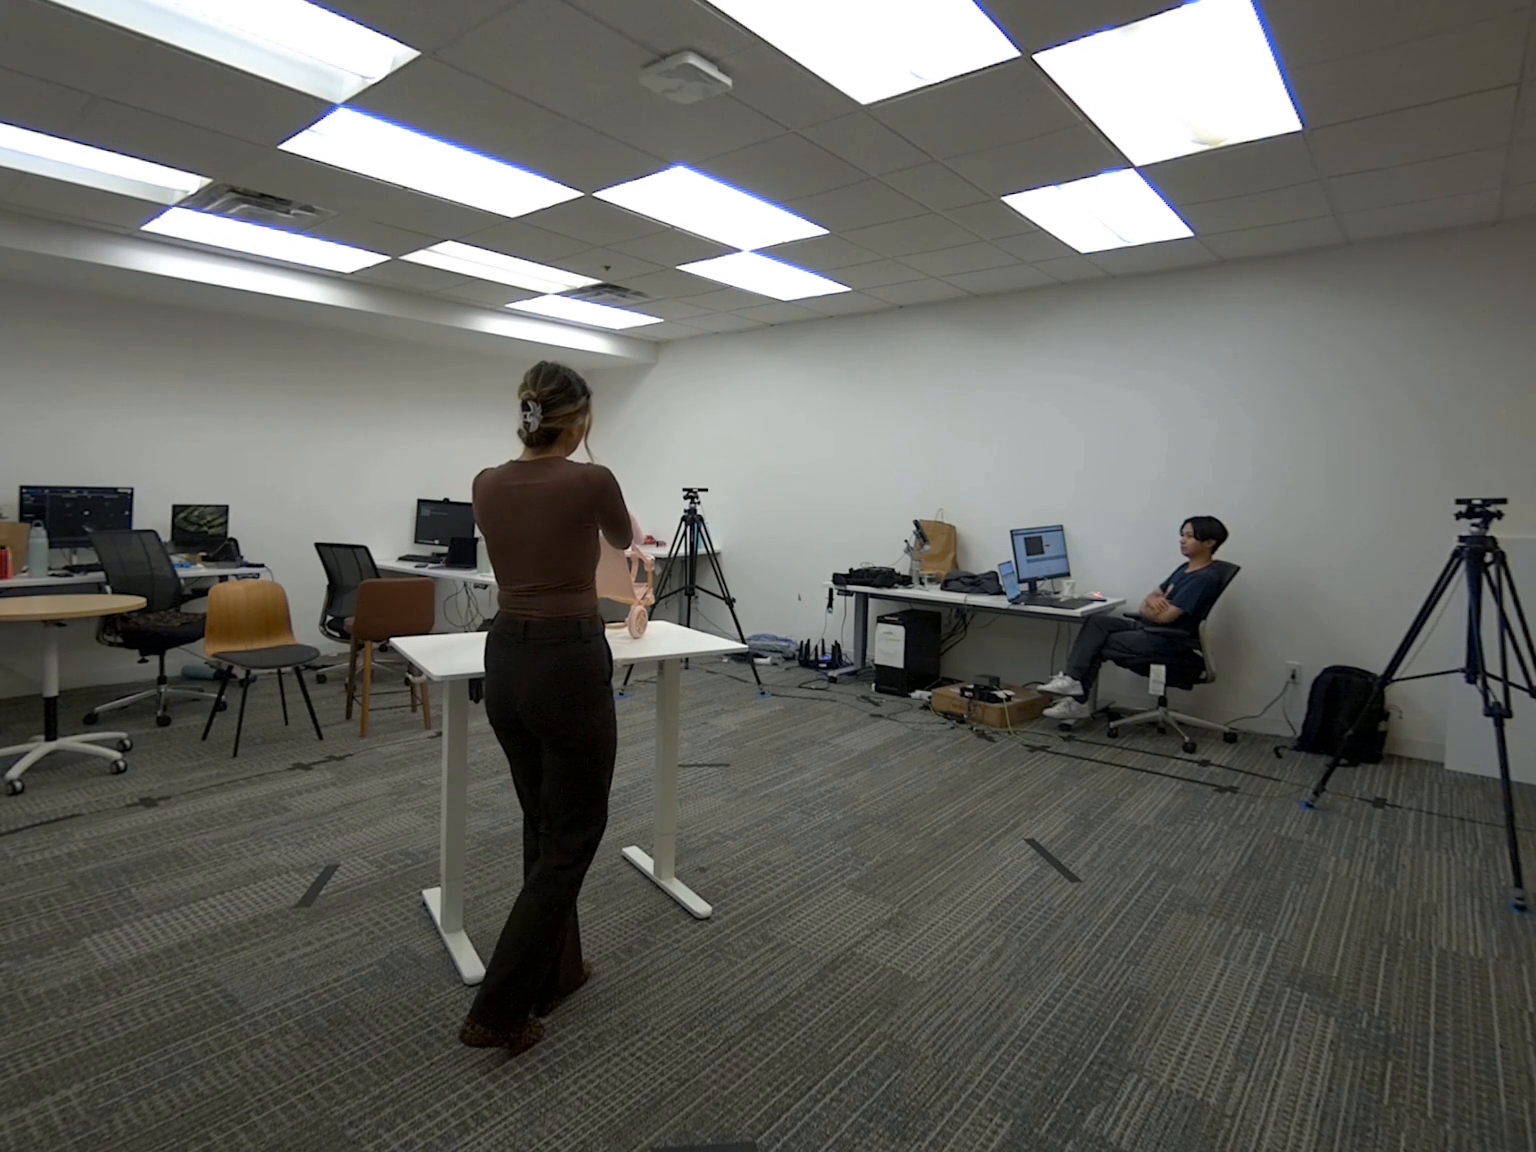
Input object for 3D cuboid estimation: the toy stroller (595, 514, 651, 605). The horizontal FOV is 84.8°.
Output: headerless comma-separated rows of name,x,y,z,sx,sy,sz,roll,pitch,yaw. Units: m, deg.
toy stroller,-0.542,-0.024,2.955,0.288,0.525,0.339,4,21,22
